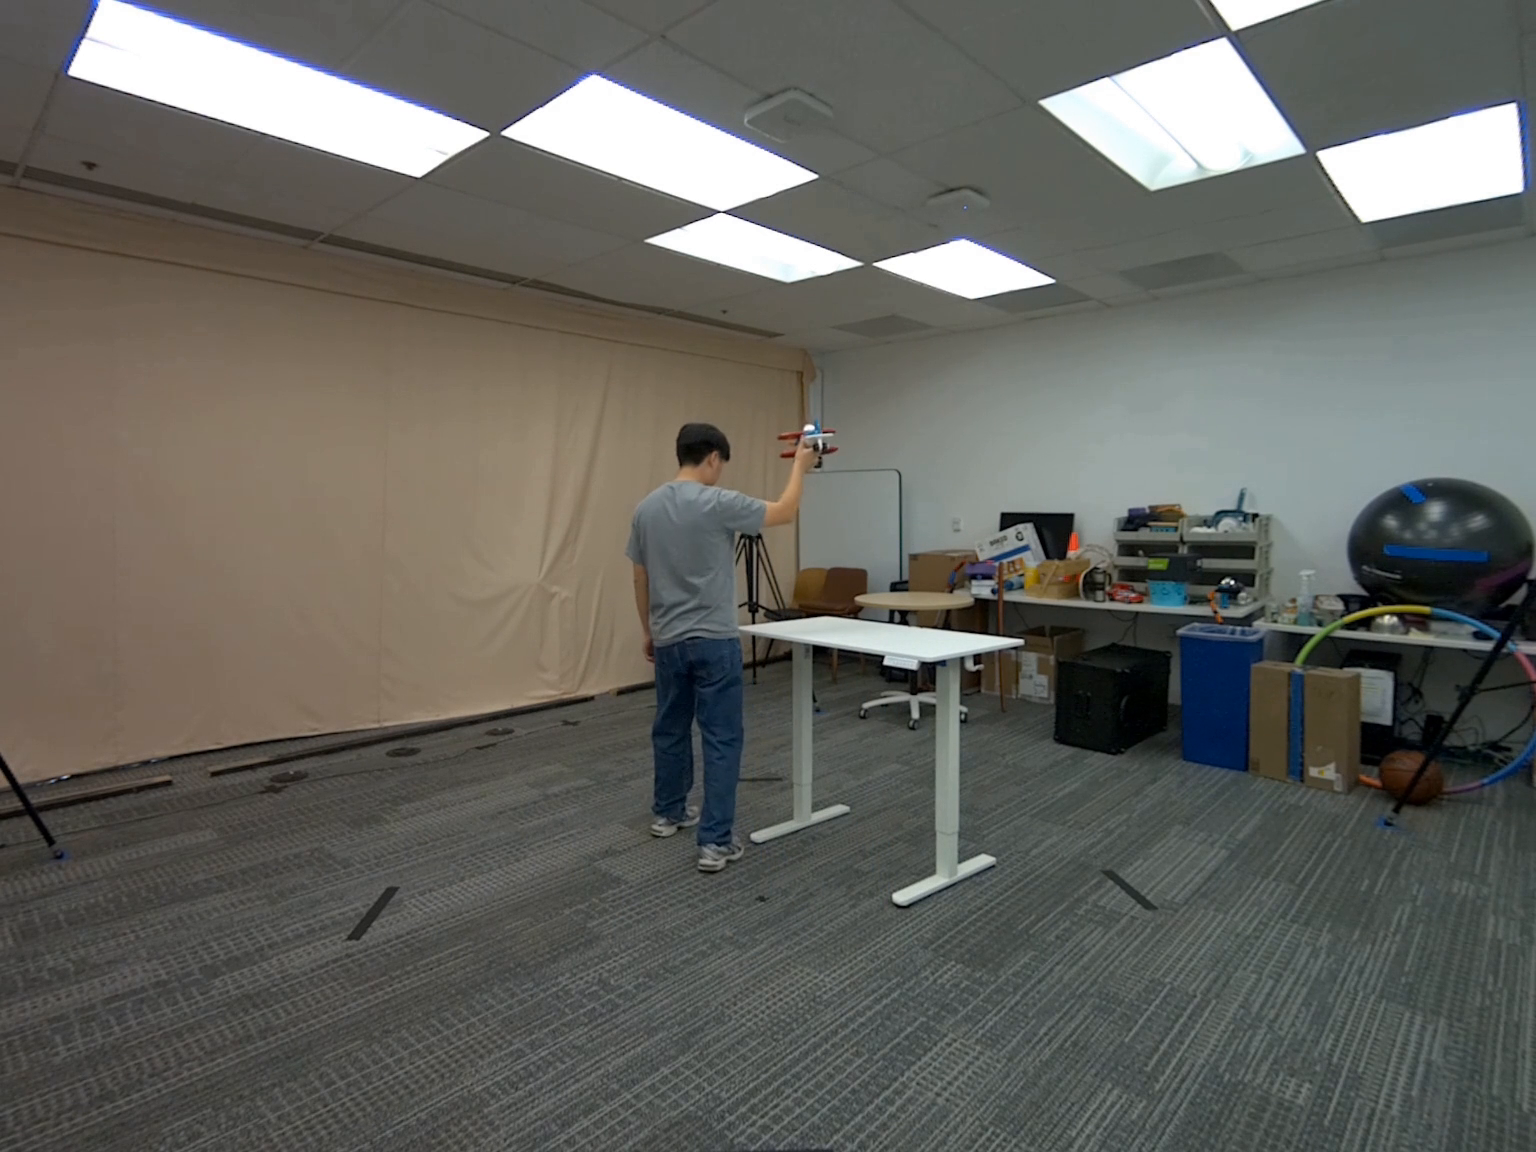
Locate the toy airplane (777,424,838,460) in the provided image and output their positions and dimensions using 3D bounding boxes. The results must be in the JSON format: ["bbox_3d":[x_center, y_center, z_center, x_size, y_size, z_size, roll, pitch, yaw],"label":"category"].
[{"bbox_3d":[0.199,-0.566,3.564,0.243,0.158,0.264,3,-22,-40],"label":"toy airplane"}]
